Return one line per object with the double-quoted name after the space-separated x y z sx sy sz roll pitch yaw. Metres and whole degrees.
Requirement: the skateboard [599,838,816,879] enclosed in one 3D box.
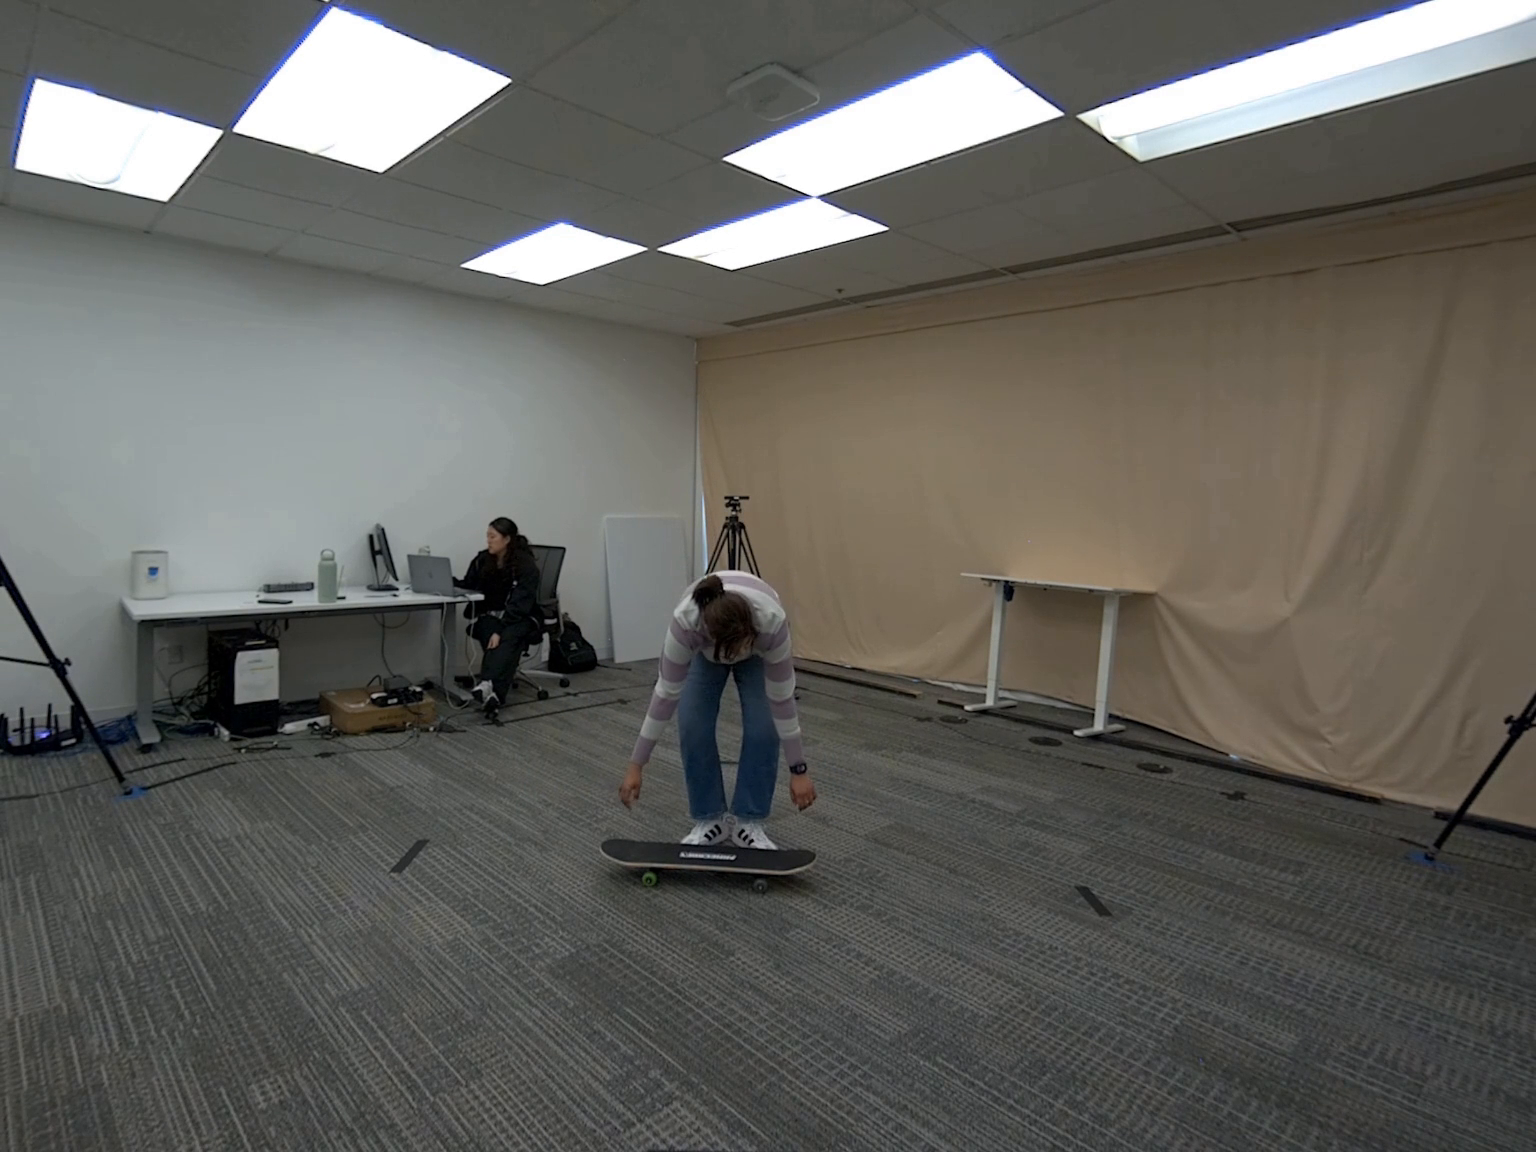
-0.227 1.048 3.061 0.789 0.110 0.193 1 4 5 "skateboard"
